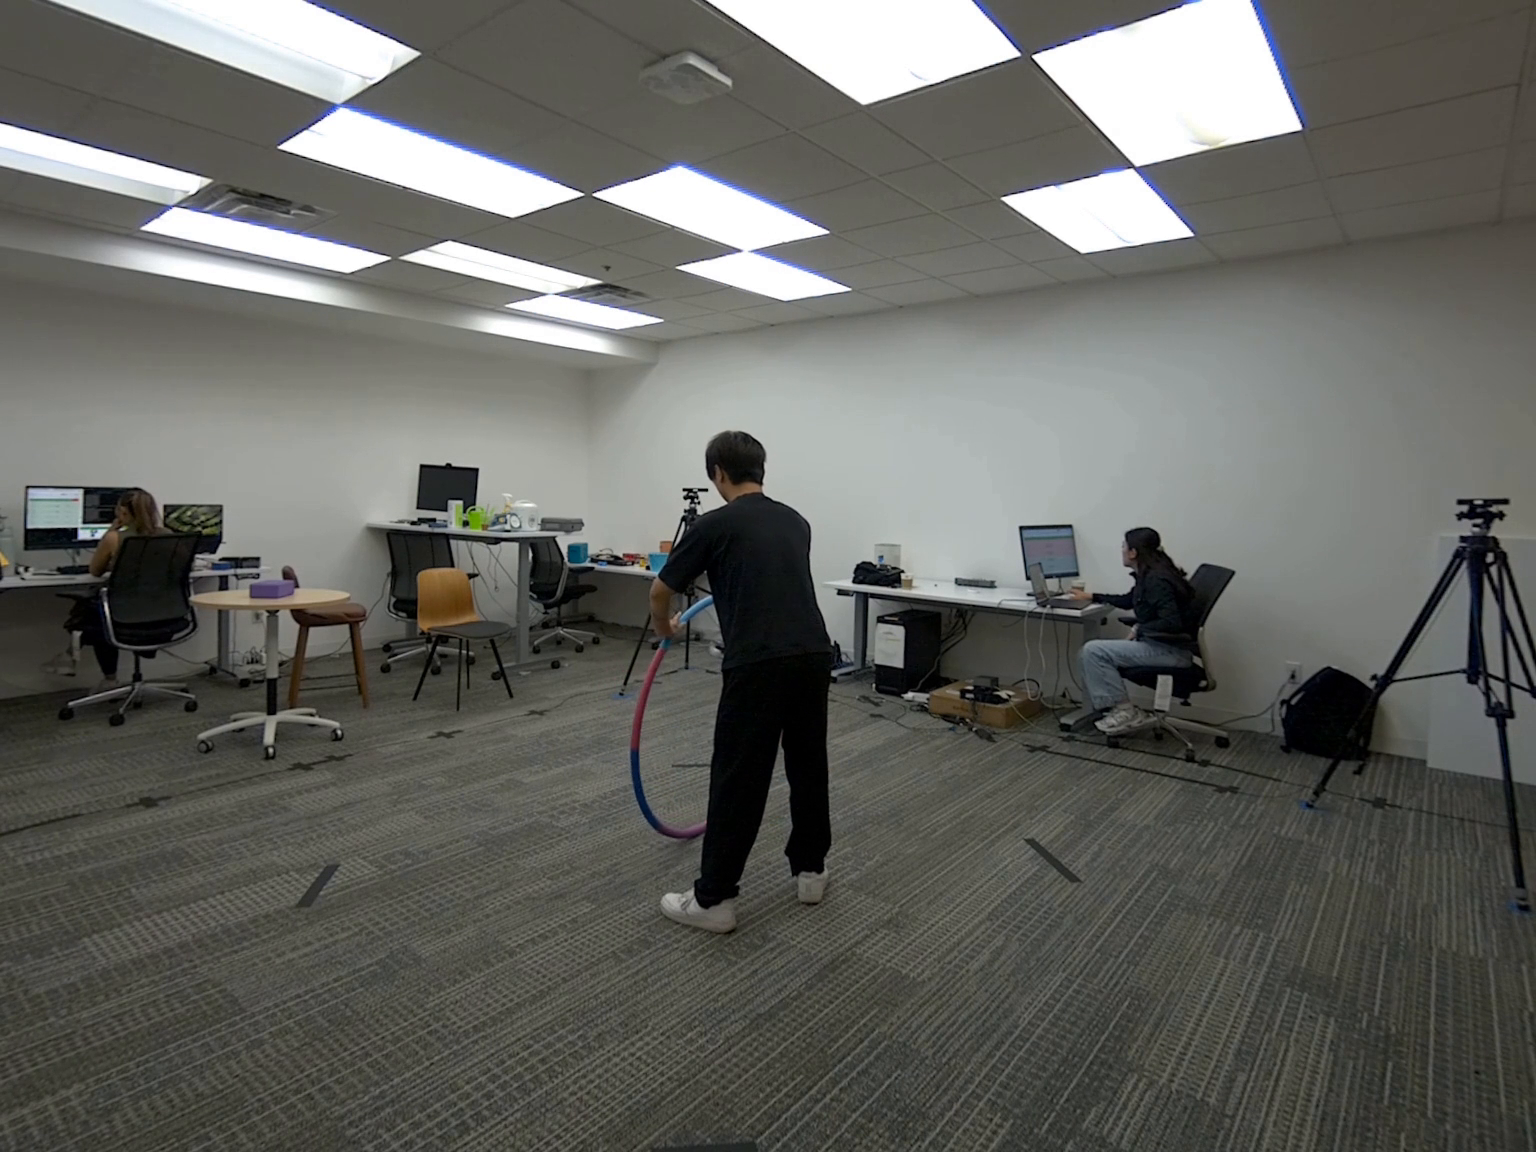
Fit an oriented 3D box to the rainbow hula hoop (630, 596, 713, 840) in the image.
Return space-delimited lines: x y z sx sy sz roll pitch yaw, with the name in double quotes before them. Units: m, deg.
"rainbow hula hoop" -0.240 0.558 3.405 0.037 0.973 0.952 9 8 31
